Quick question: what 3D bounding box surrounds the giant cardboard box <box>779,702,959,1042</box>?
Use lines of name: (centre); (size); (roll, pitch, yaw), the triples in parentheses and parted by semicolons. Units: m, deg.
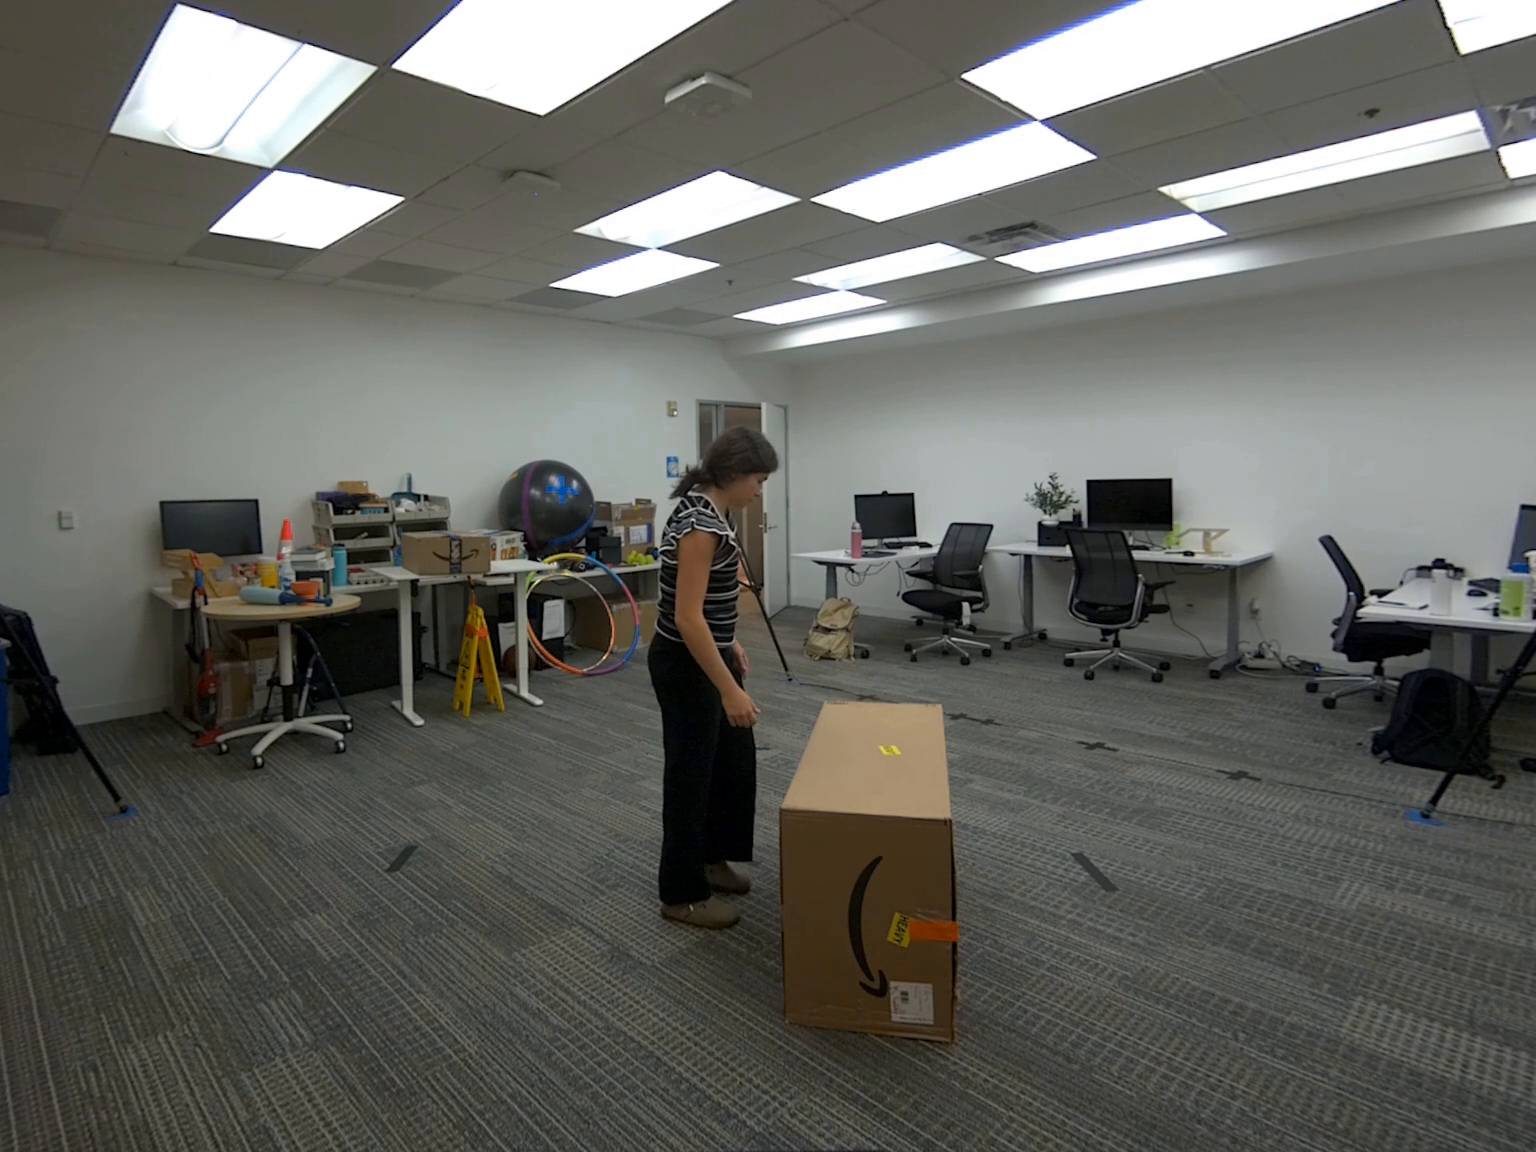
giant cardboard box: (0.338, 0.808, 2.620); (0.431, 0.575, 1.019); (-1, 6, 11)
